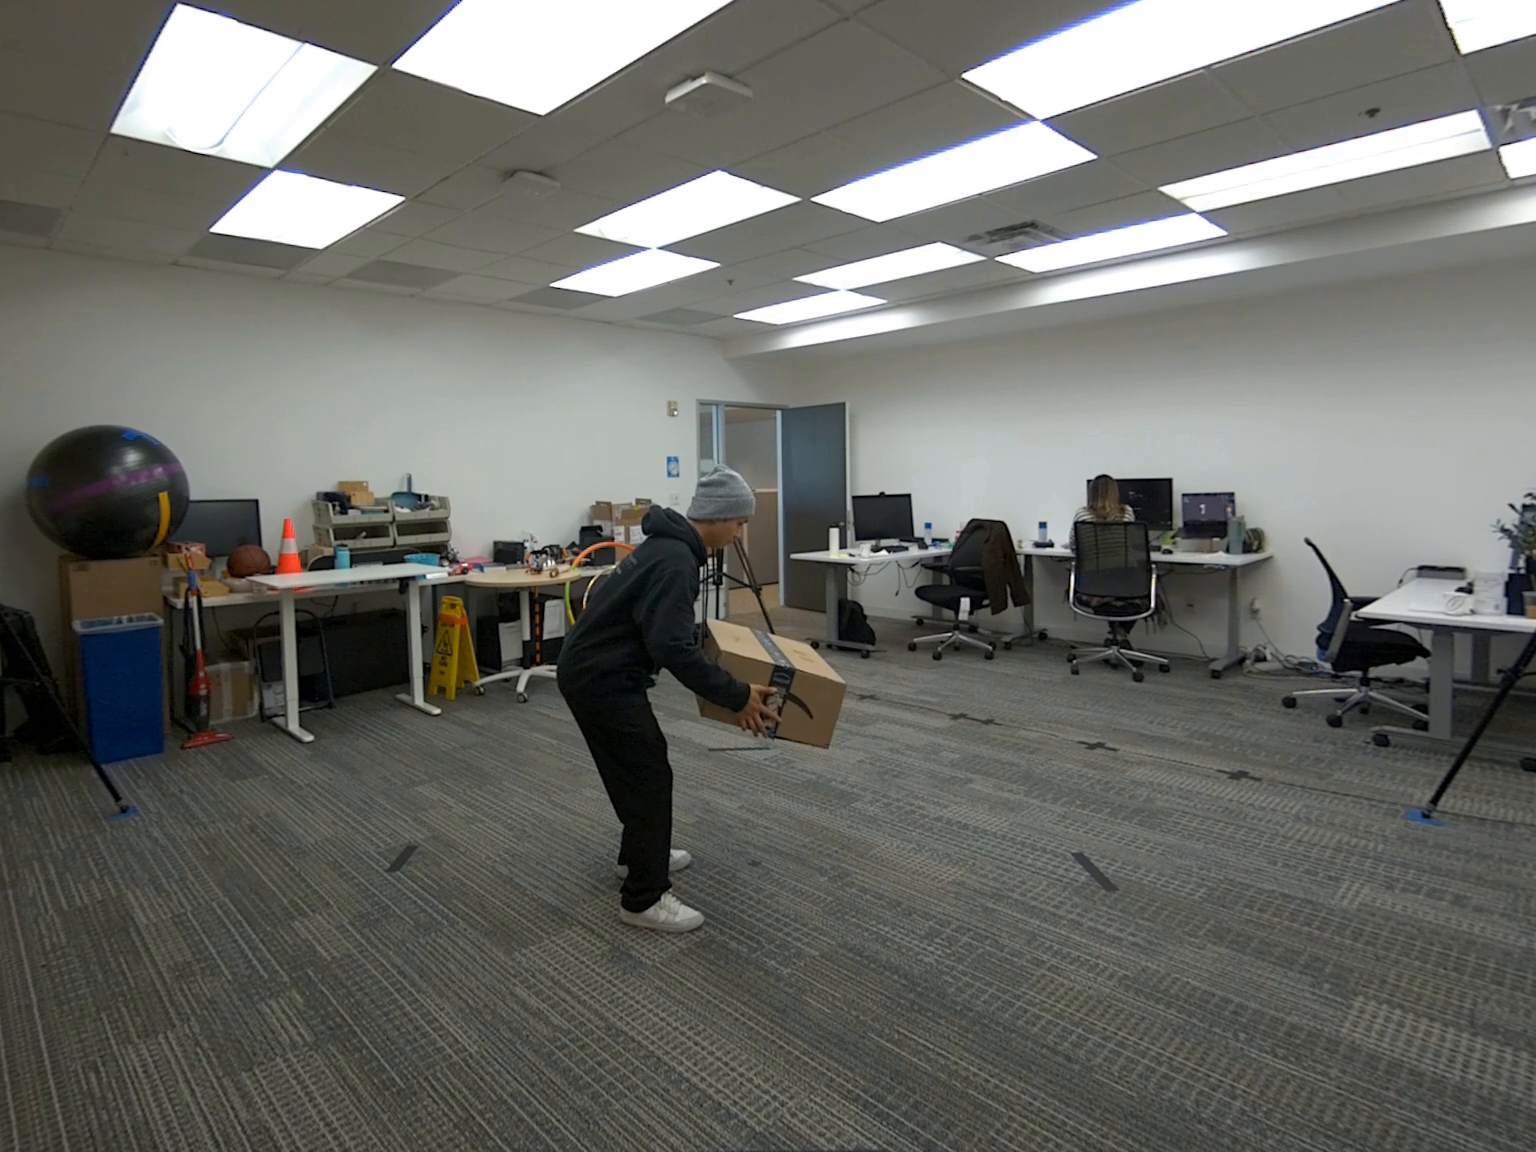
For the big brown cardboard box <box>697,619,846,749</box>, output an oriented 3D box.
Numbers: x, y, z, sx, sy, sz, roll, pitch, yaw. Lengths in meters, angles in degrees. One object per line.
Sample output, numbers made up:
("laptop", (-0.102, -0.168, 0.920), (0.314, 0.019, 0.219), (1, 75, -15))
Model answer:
("big brown cardboard box", (-0.021, 0.345, 2.888), (0.413, 0.232, 0.596), (16, 5, -9))
